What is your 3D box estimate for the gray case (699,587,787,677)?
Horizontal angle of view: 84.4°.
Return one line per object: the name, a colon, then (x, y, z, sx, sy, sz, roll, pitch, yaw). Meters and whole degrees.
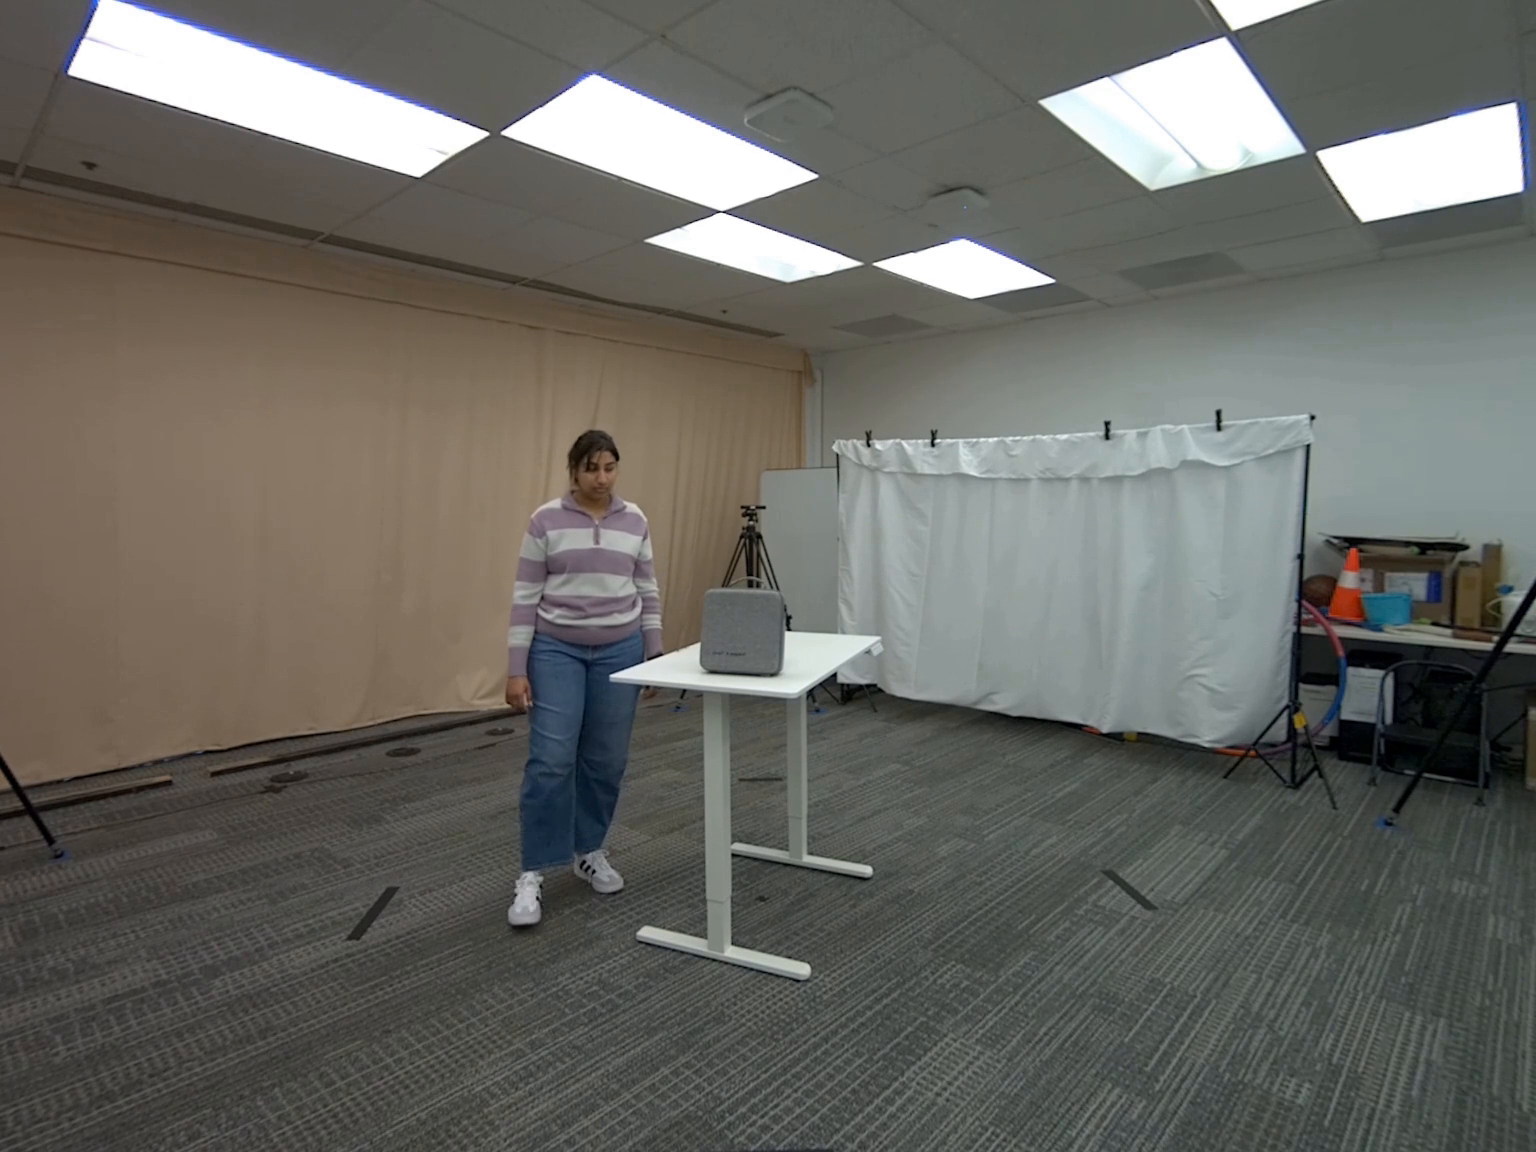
gray case: (-0.074, 0.167, 2.575, 0.262, 0.261, 0.102, 1, -7, 18)
